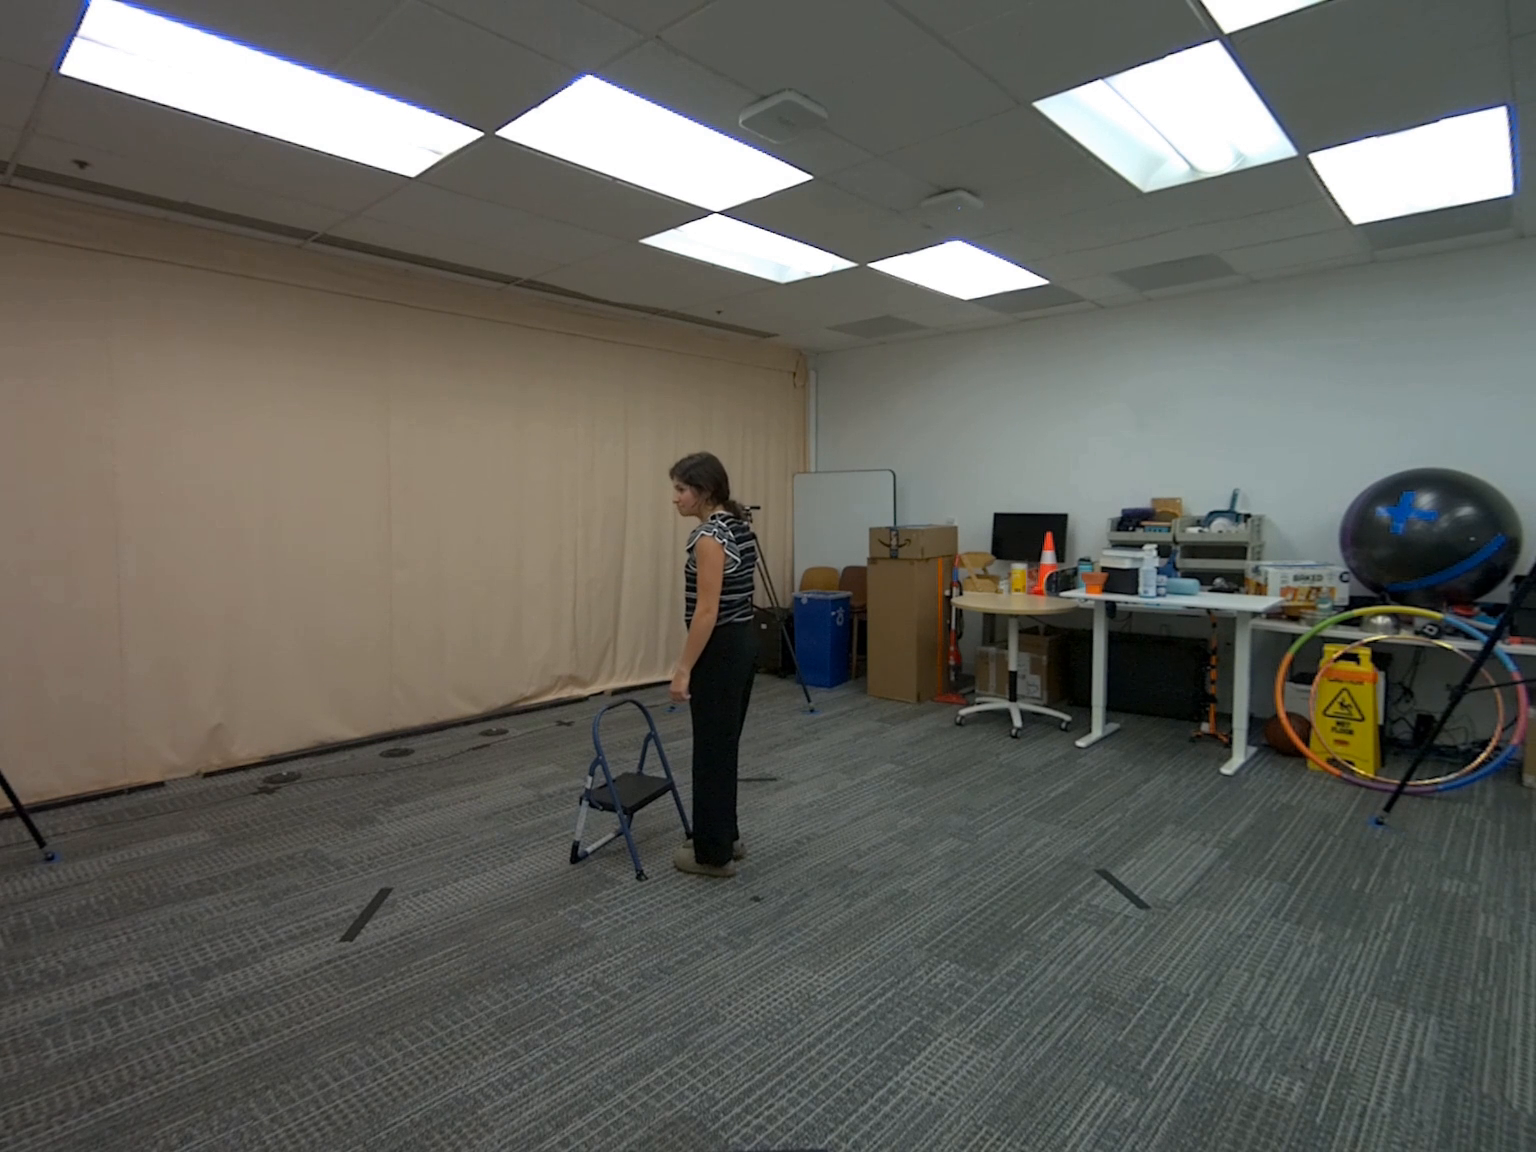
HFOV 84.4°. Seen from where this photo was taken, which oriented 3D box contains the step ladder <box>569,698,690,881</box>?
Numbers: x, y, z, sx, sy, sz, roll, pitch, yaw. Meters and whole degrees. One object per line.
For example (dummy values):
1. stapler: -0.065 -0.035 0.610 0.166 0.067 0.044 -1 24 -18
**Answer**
1. step ladder: -0.544 0.815 3.387 0.358 0.605 0.420 1 3 25
